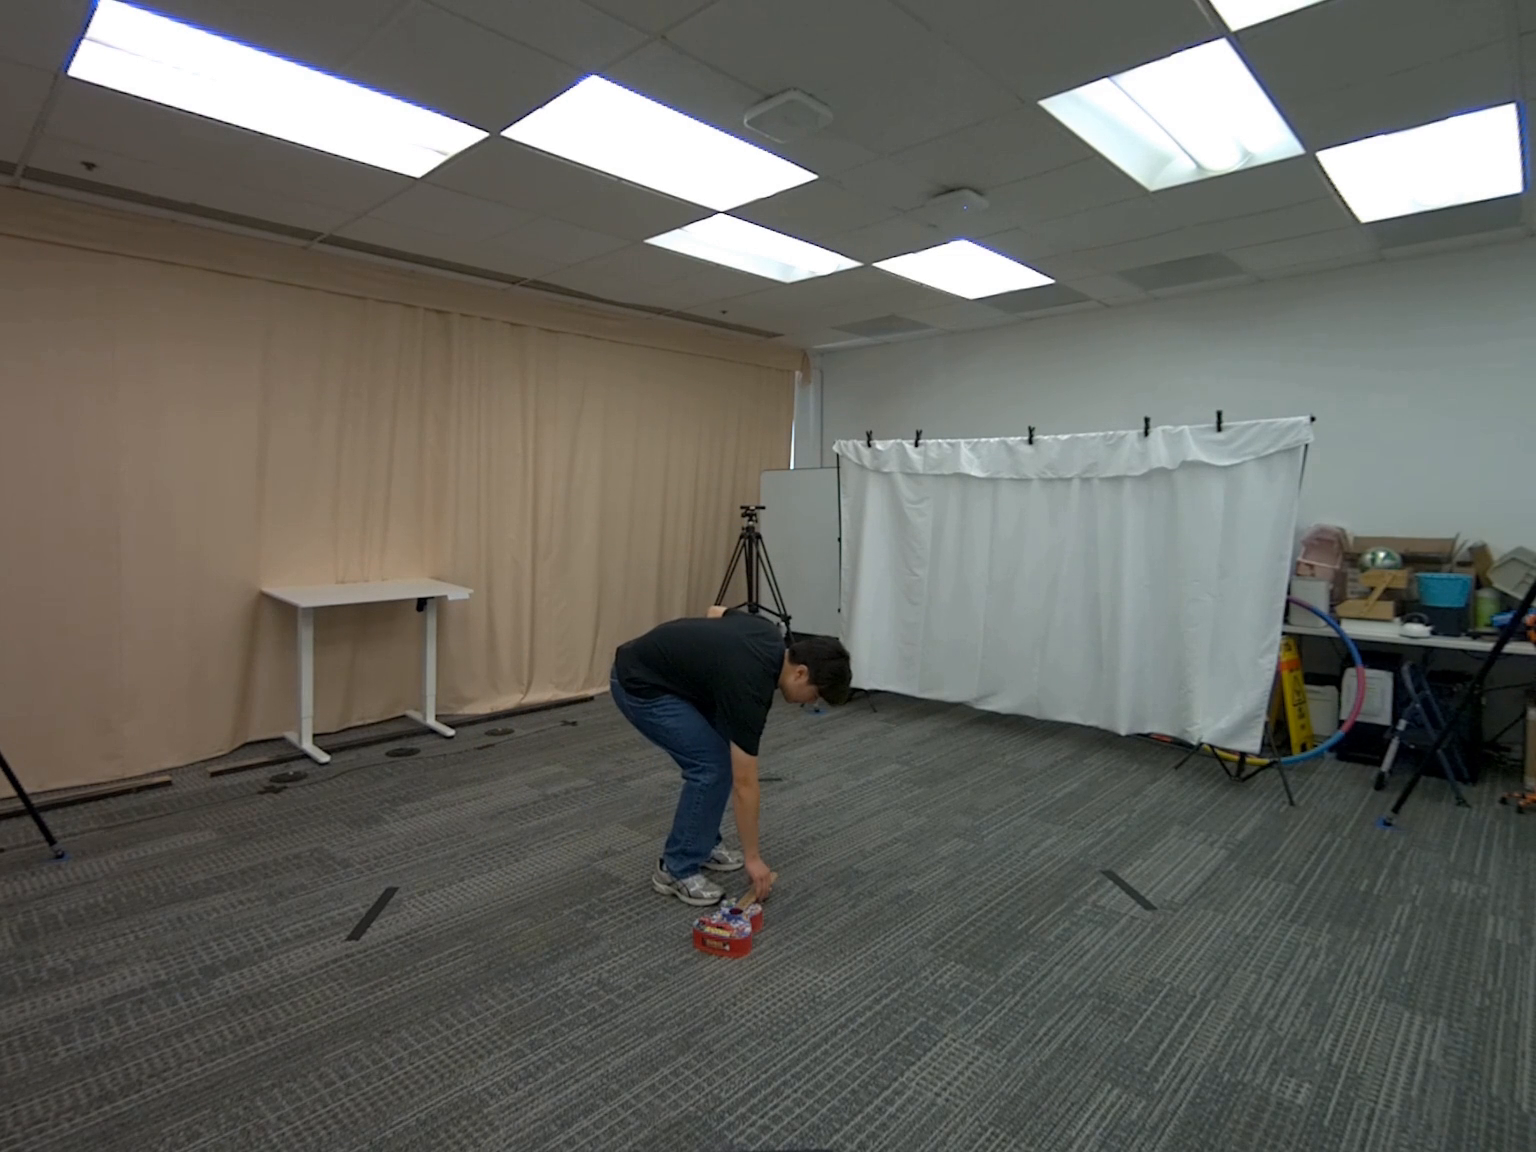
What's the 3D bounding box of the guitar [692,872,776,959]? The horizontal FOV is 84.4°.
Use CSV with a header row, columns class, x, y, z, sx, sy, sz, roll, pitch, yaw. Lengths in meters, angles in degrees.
class,x,y,z,sx,sy,sz,roll,pitch,yaw
guitar,-0.051,1.124,2.823,0.199,0.070,0.485,3,7,31
